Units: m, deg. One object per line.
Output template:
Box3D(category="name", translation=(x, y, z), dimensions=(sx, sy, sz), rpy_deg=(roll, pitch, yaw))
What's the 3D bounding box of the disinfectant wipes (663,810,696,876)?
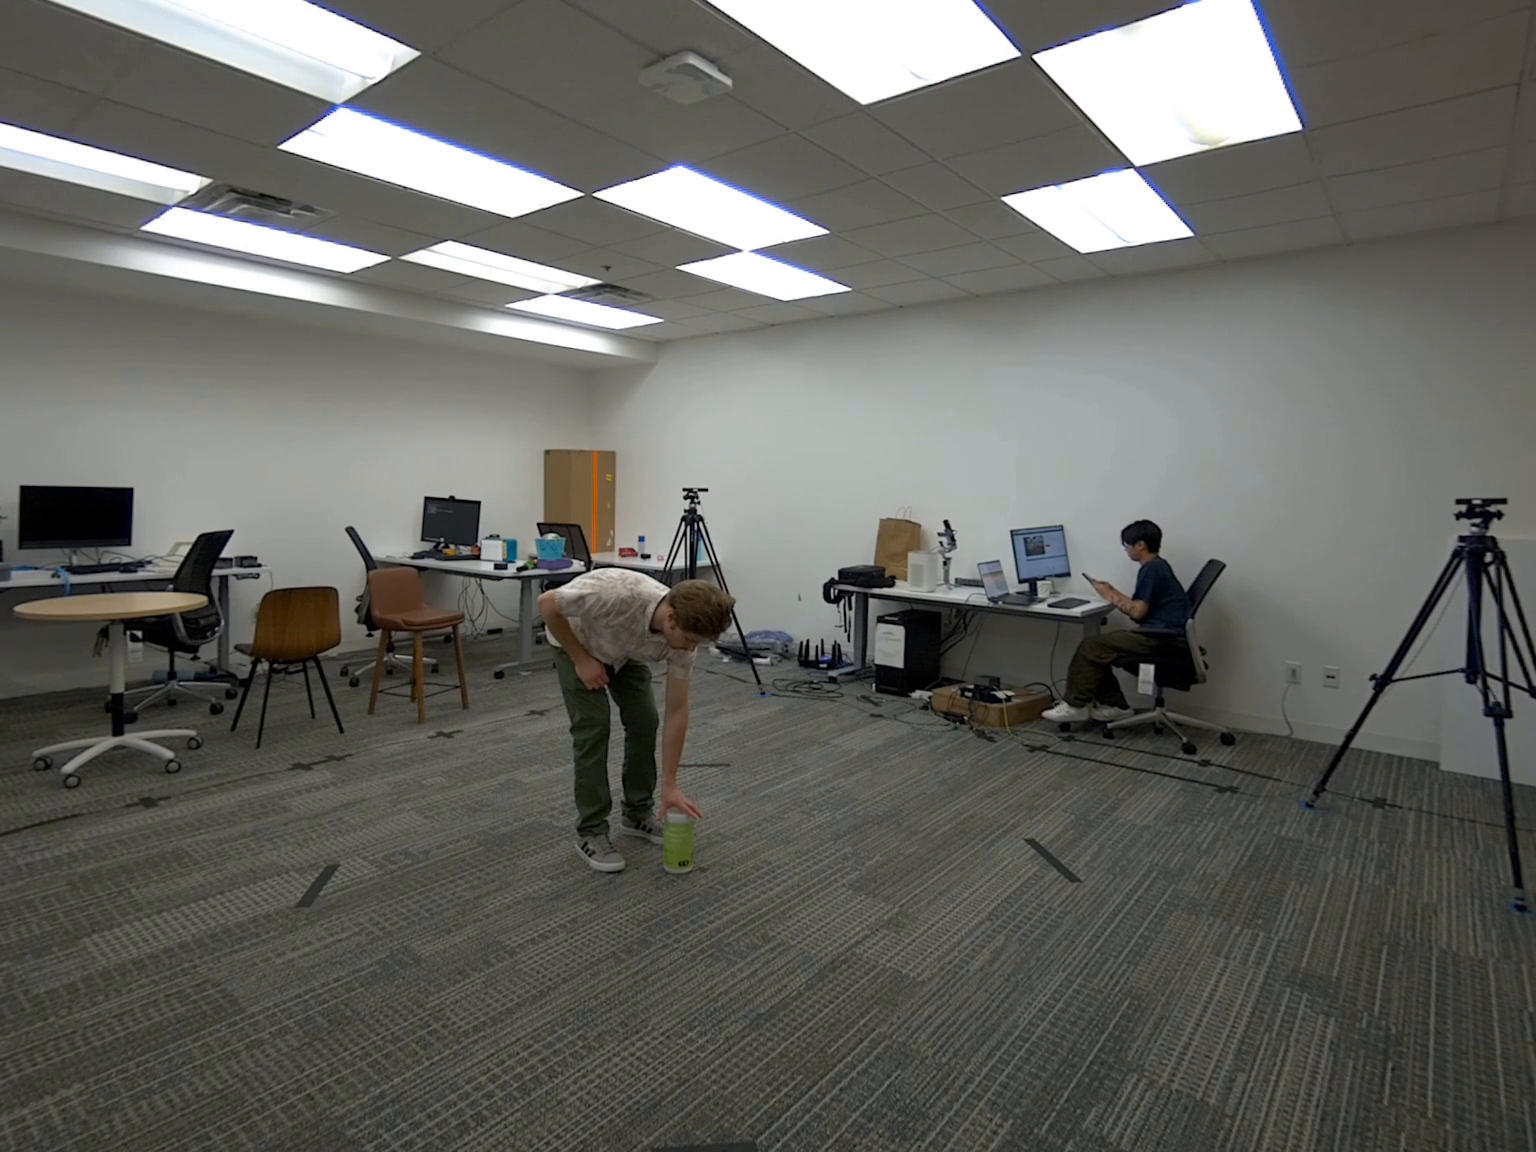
Box3D(category="disinfectant wipes", translation=(-0.339, 0.964, 3.110), dimensions=(0.118, 0.217, 0.118), rpy_deg=(1, 3, -2))
